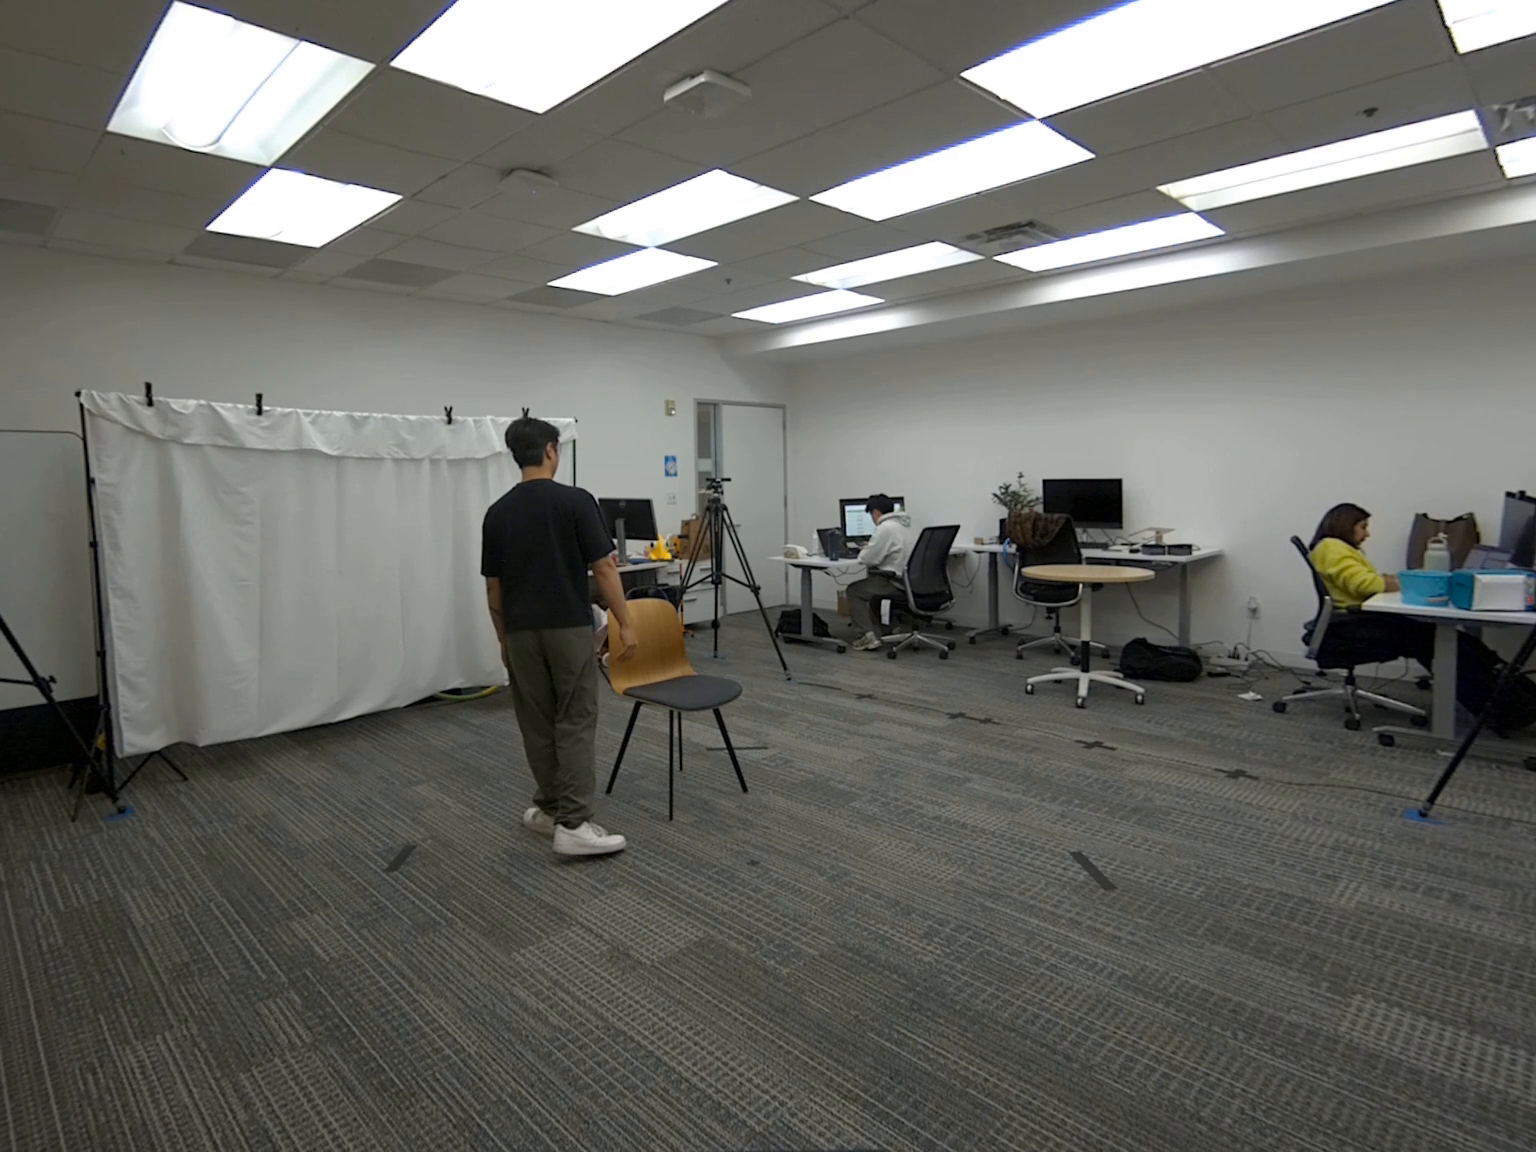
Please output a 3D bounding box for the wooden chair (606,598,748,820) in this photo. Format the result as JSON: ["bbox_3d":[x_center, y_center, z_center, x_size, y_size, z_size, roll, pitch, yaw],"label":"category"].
[{"bbox_3d":[-0.409,0.544,3.778,0.465,0.877,0.537,-5,1,-45],"label":"wooden chair"}]
